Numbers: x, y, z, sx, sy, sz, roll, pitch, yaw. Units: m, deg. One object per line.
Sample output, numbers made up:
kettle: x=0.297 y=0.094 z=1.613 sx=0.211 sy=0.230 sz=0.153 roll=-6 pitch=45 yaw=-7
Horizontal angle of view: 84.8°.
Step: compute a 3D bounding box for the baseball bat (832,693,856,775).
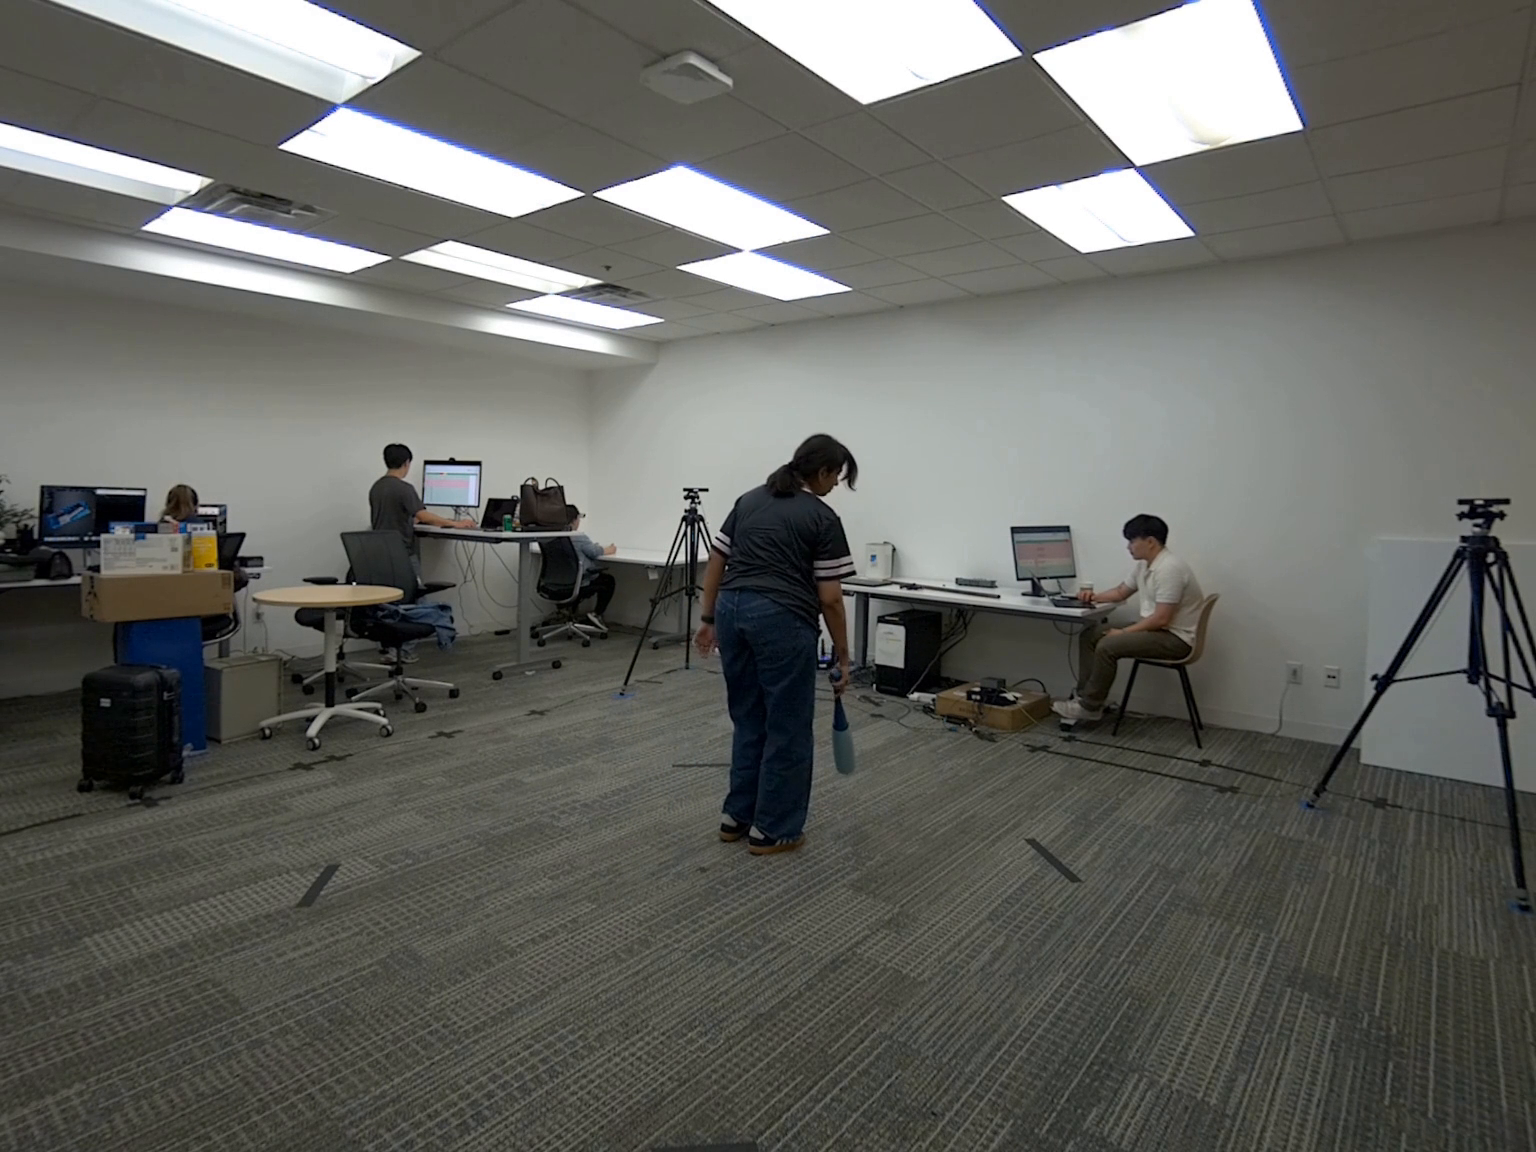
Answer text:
baseball bat: x=0.277 y=0.598 z=3.440 sx=0.089 sy=0.526 sz=0.091 roll=-8 pitch=33 yaw=4
